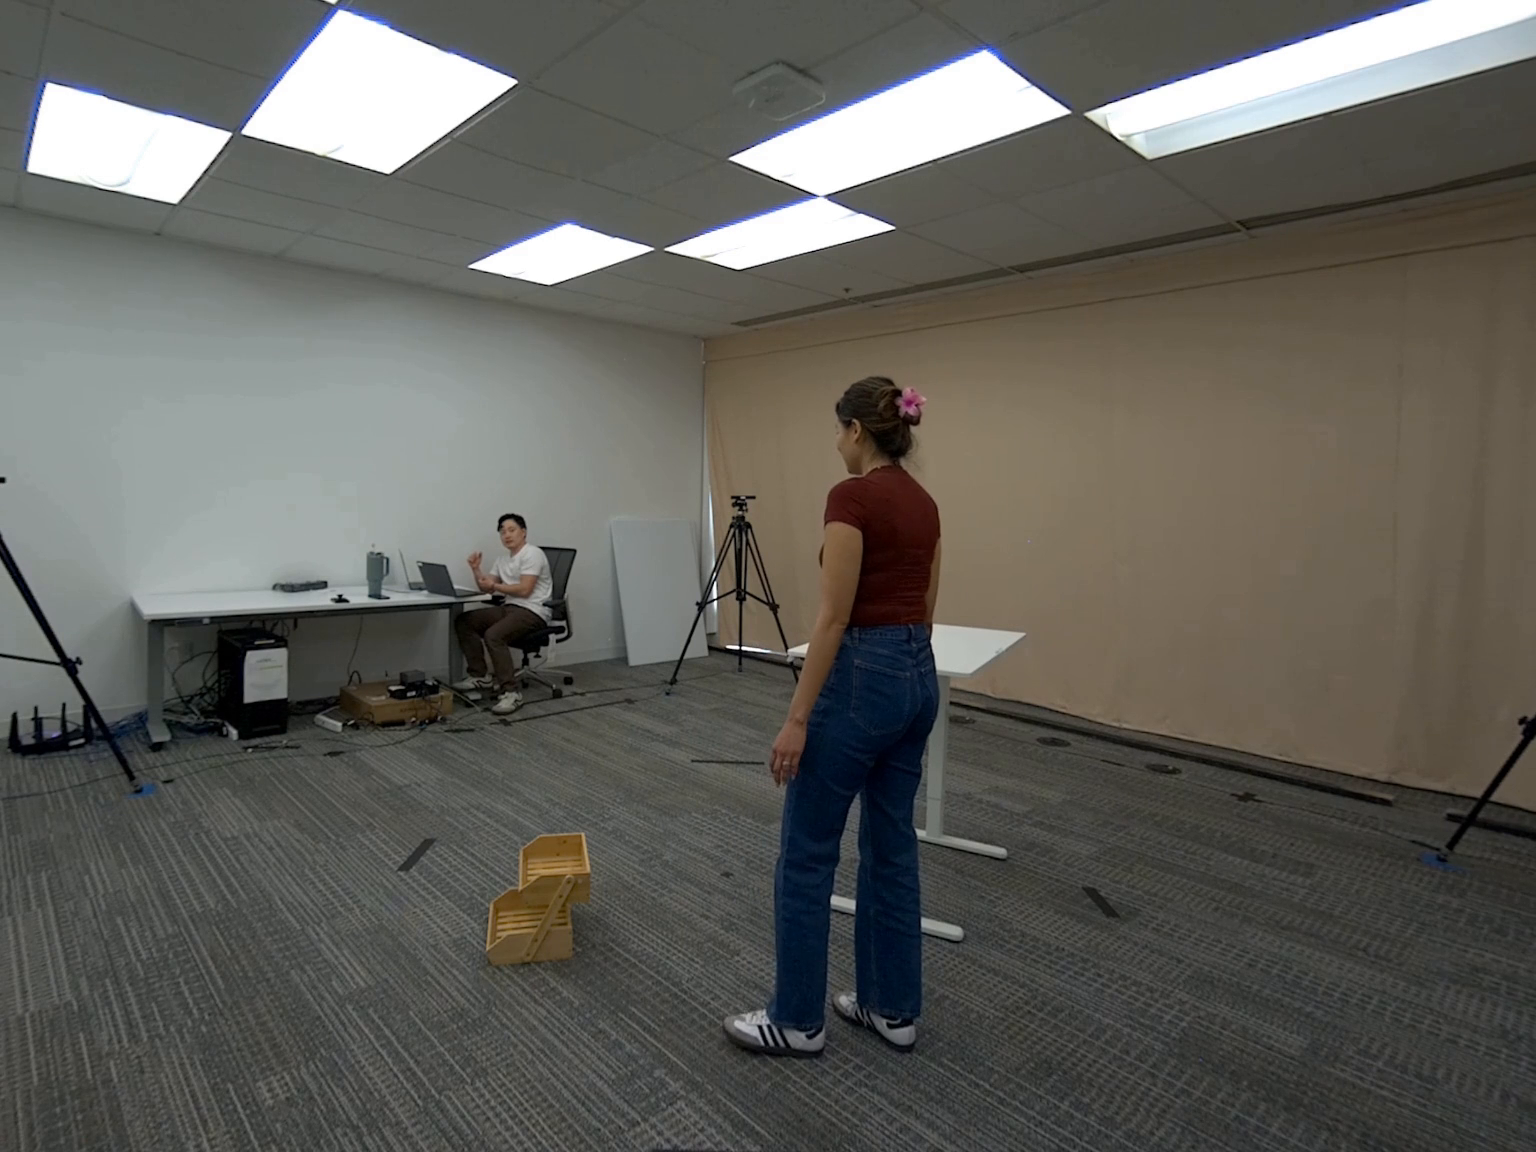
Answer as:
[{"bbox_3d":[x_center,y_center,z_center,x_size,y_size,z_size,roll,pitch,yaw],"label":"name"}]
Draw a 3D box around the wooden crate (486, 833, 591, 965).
[{"bbox_3d":[-0.732,1.002,2.629,0.299,0.272,0.329,-1,4,-15],"label":"wooden crate"}]
